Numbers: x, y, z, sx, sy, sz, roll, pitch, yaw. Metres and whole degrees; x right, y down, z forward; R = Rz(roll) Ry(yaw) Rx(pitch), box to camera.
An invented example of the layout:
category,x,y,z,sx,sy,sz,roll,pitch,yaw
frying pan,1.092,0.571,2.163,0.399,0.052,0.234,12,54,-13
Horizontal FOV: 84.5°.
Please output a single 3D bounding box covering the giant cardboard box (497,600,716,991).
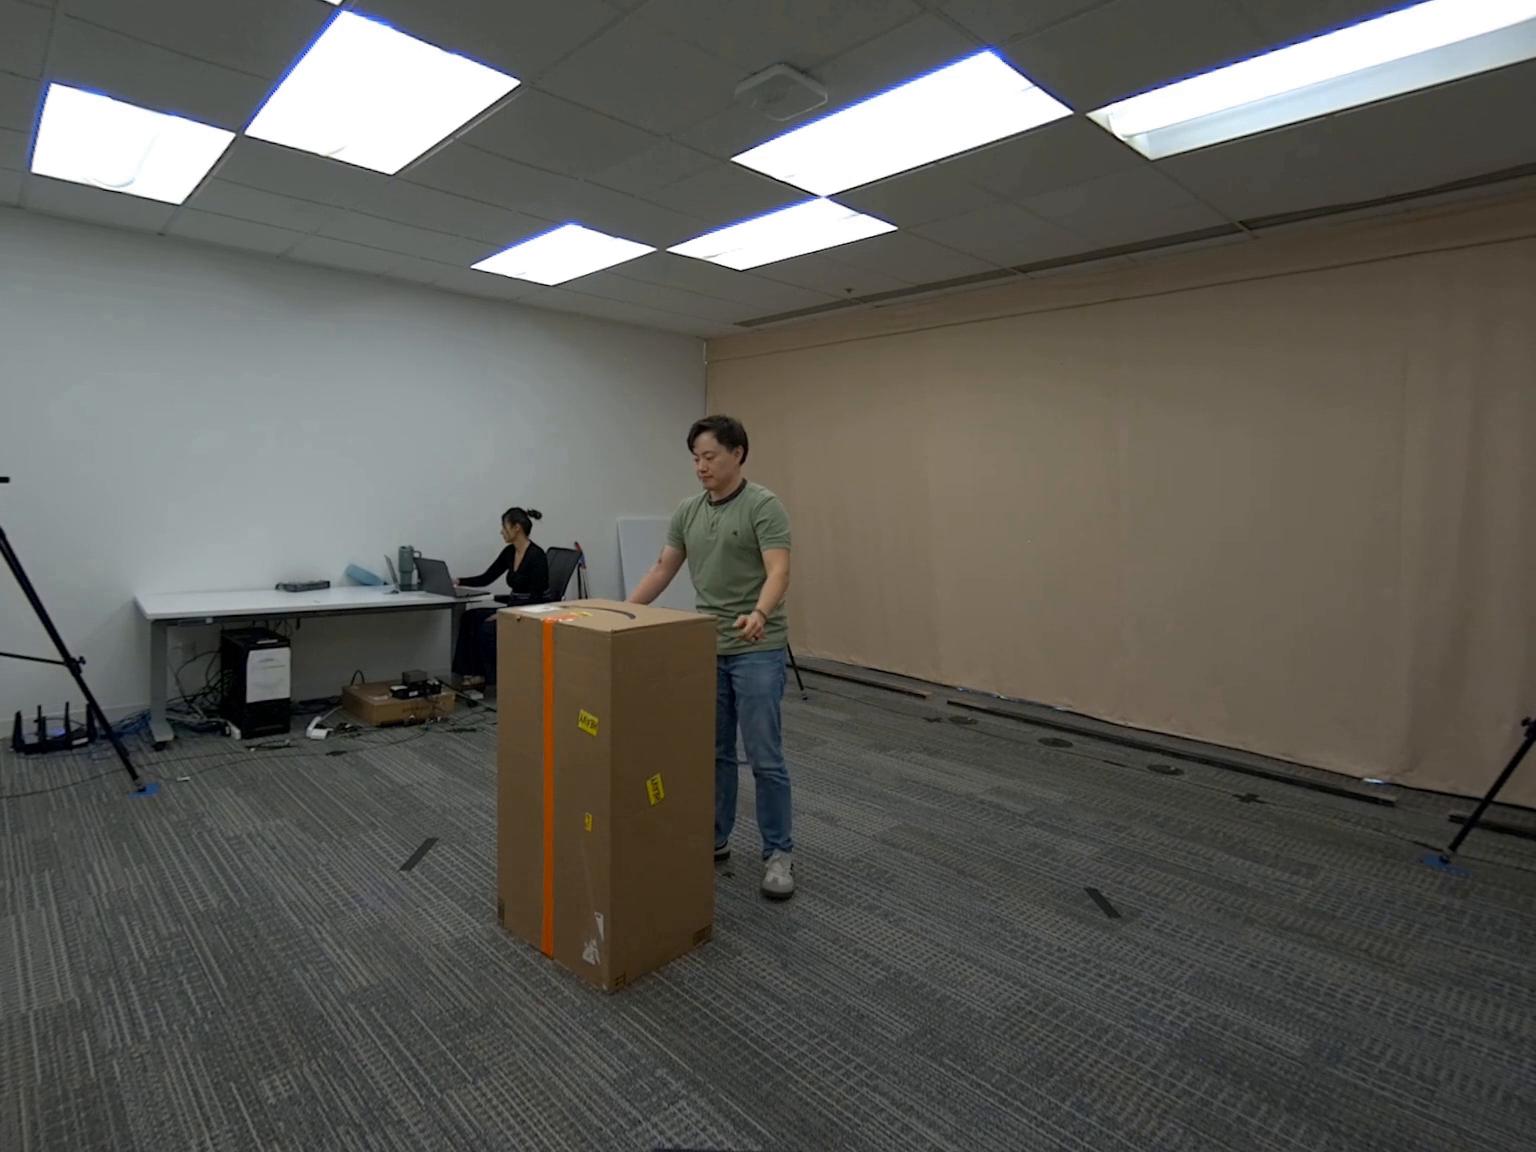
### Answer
category,x,y,z,sx,sy,sz,roll,pitch,yaw
giant cardboard box,-0.524,0.625,2.650,0.592,1.023,0.416,5,4,41
